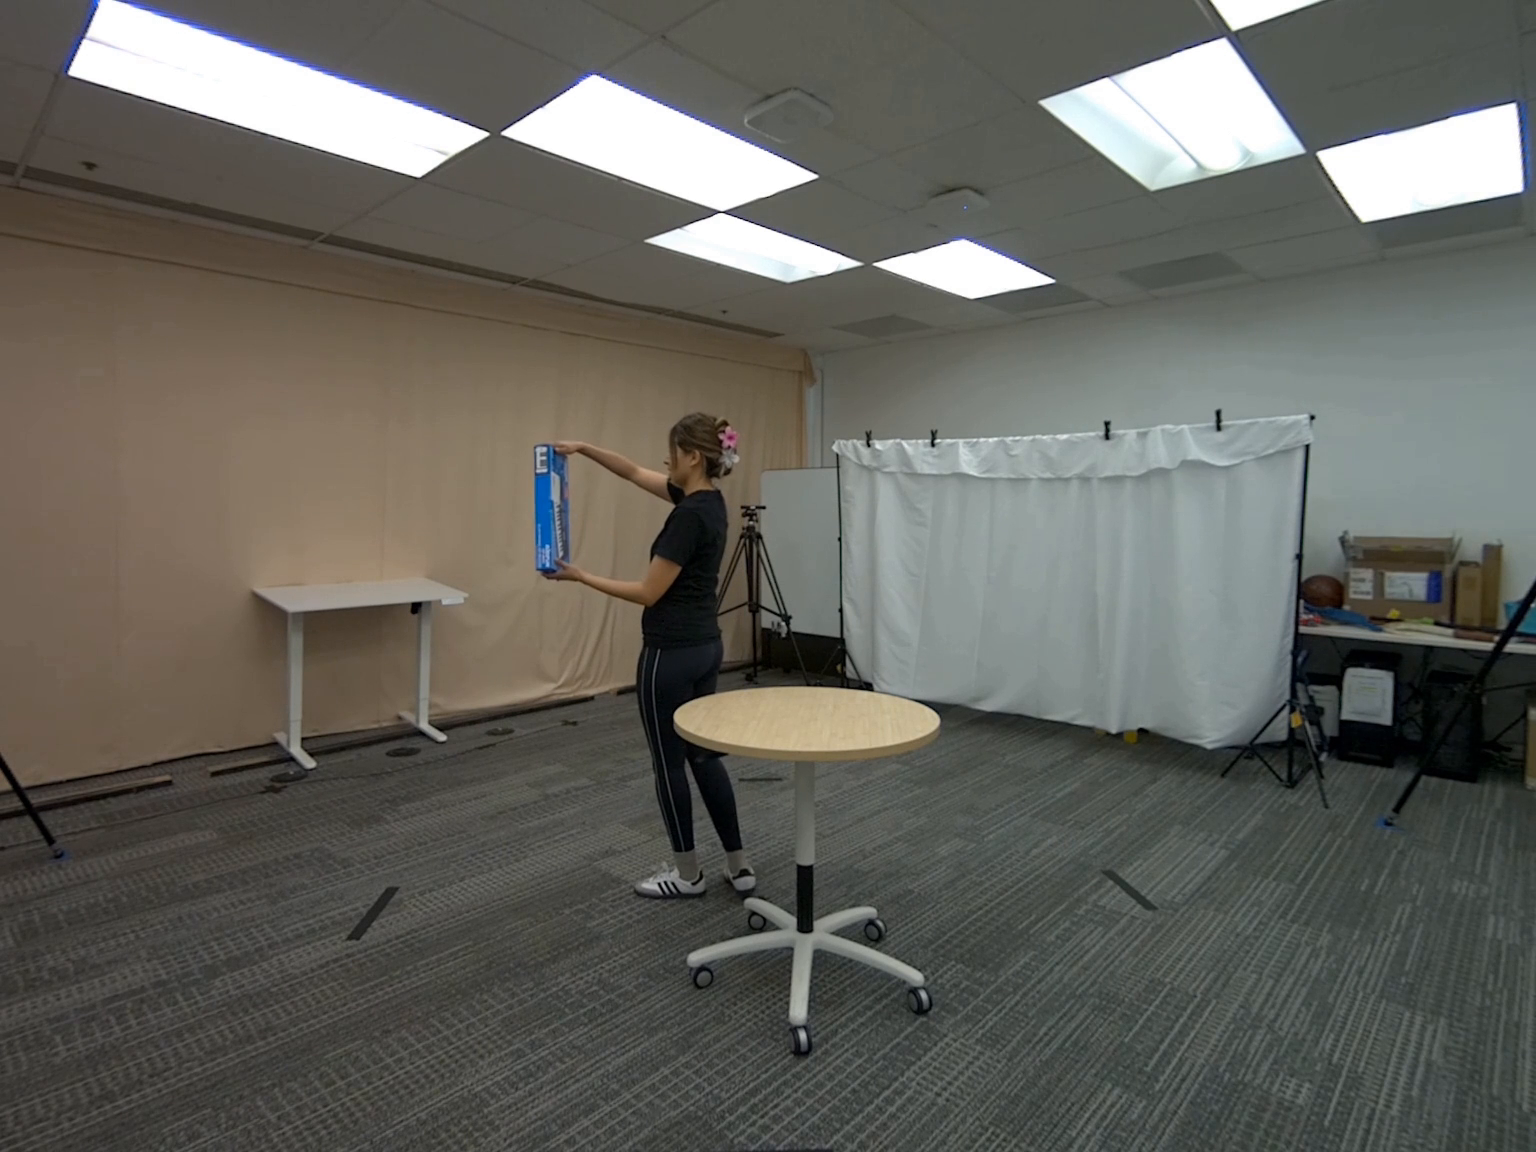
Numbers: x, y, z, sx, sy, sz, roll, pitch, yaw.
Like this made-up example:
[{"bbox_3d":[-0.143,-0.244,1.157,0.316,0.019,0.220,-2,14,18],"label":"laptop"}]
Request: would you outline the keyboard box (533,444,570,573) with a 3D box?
[{"bbox_3d":[-0.760,-0.227,2.963,0.060,0.439,0.173,-4,-8,8],"label":"keyboard box"}]
